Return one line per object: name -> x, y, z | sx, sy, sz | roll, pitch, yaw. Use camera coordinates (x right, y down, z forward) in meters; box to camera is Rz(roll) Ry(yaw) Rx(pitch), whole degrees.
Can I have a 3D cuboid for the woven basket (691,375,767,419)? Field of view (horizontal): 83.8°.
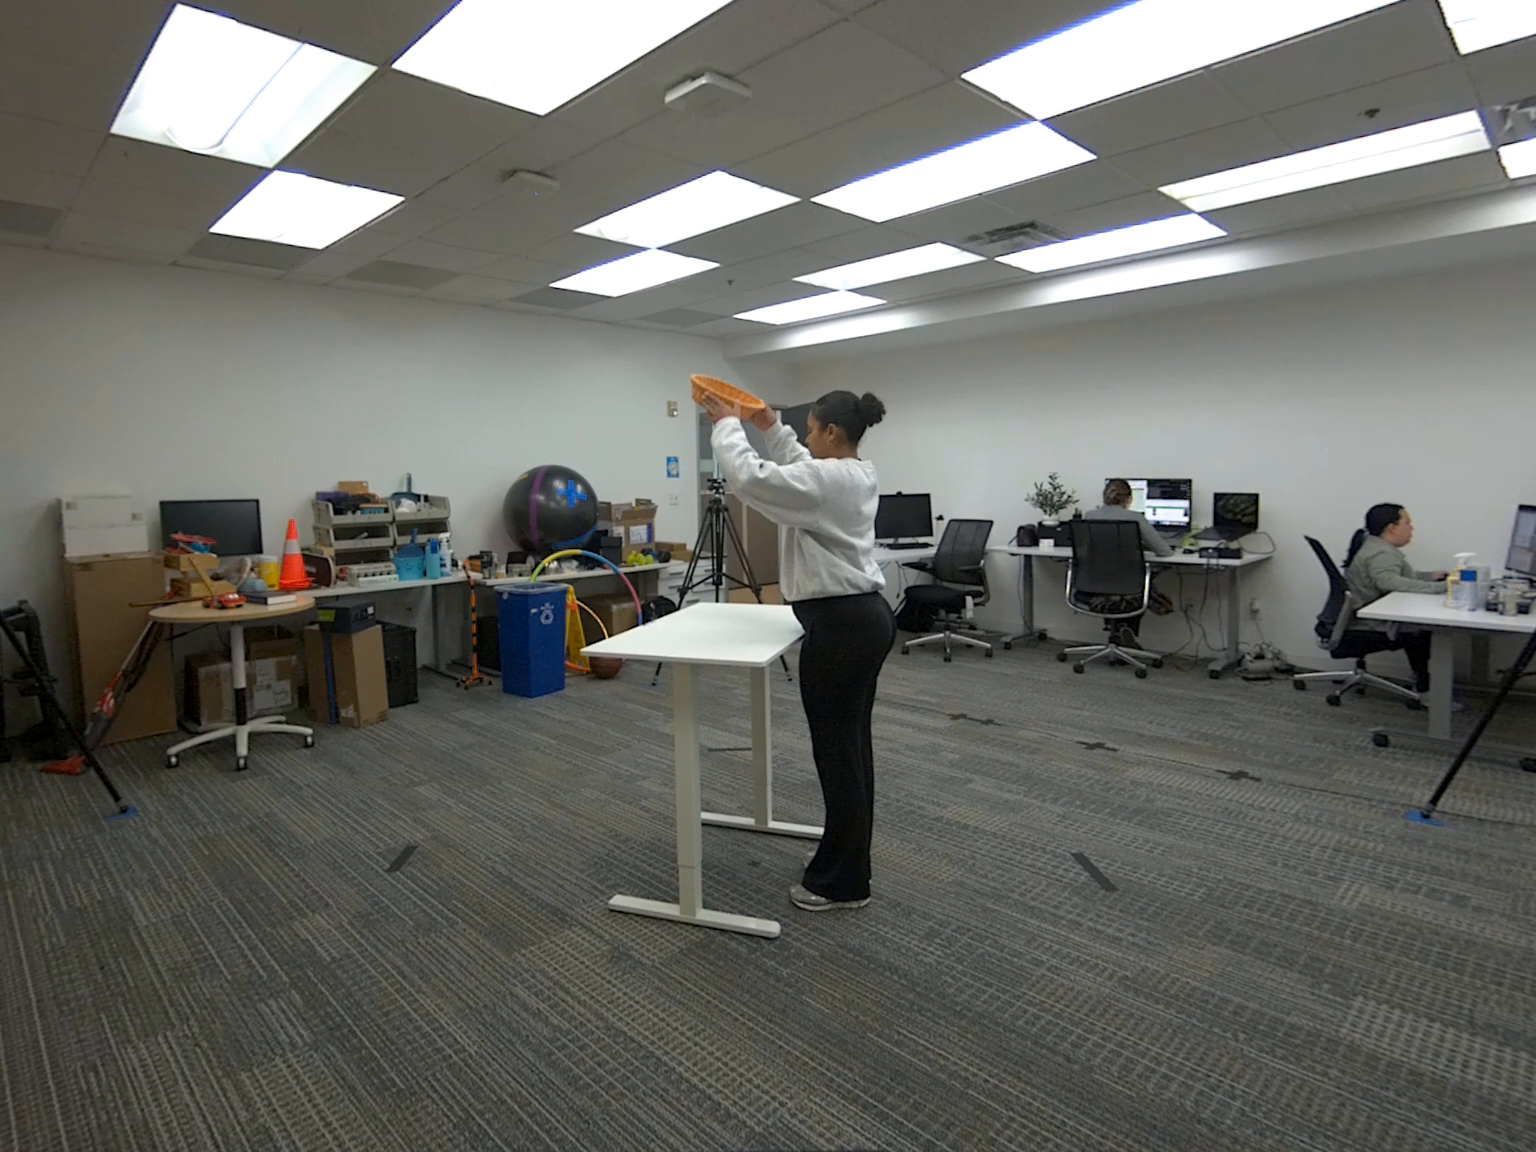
woven basket -> -0.132, -0.601, 2.977 | 0.257, 0.073, 0.346 | 31, 19, 14
